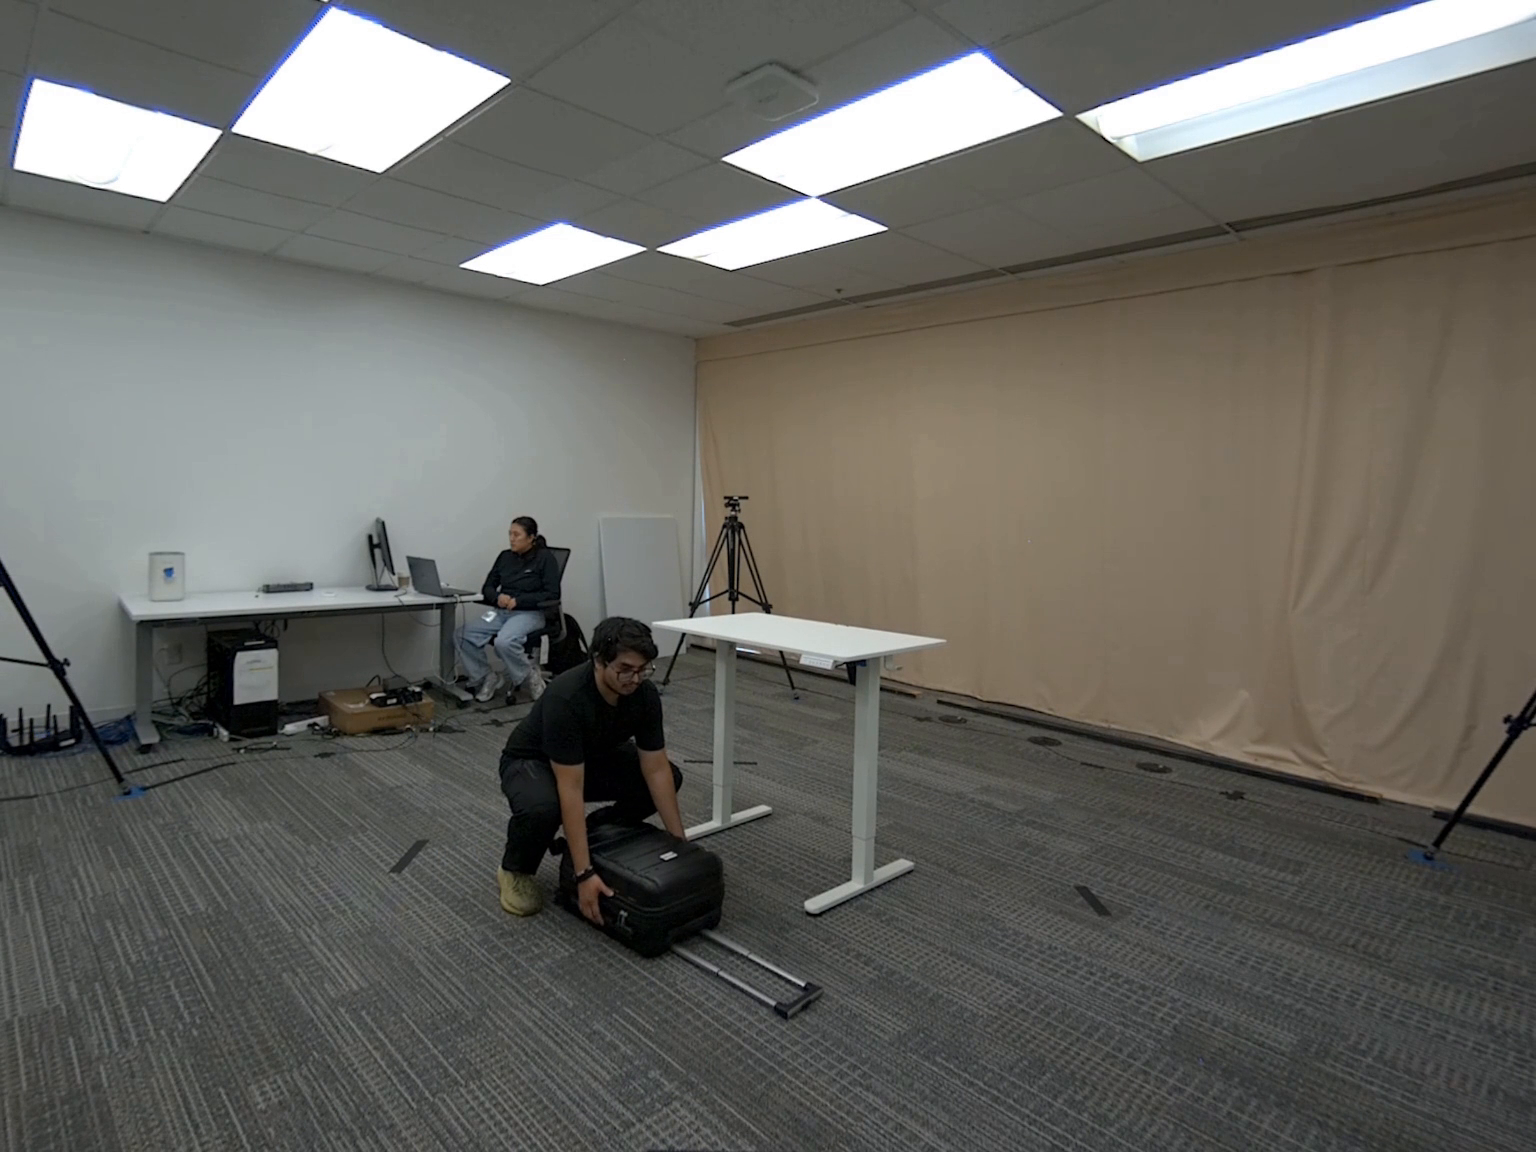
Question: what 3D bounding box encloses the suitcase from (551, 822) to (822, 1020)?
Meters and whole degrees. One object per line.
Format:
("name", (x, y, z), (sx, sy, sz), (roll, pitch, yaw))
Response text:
("suitcase", (-0.273, 1.025, 2.617), (1.003, 0.256, 0.375), (3, 4, 41))
